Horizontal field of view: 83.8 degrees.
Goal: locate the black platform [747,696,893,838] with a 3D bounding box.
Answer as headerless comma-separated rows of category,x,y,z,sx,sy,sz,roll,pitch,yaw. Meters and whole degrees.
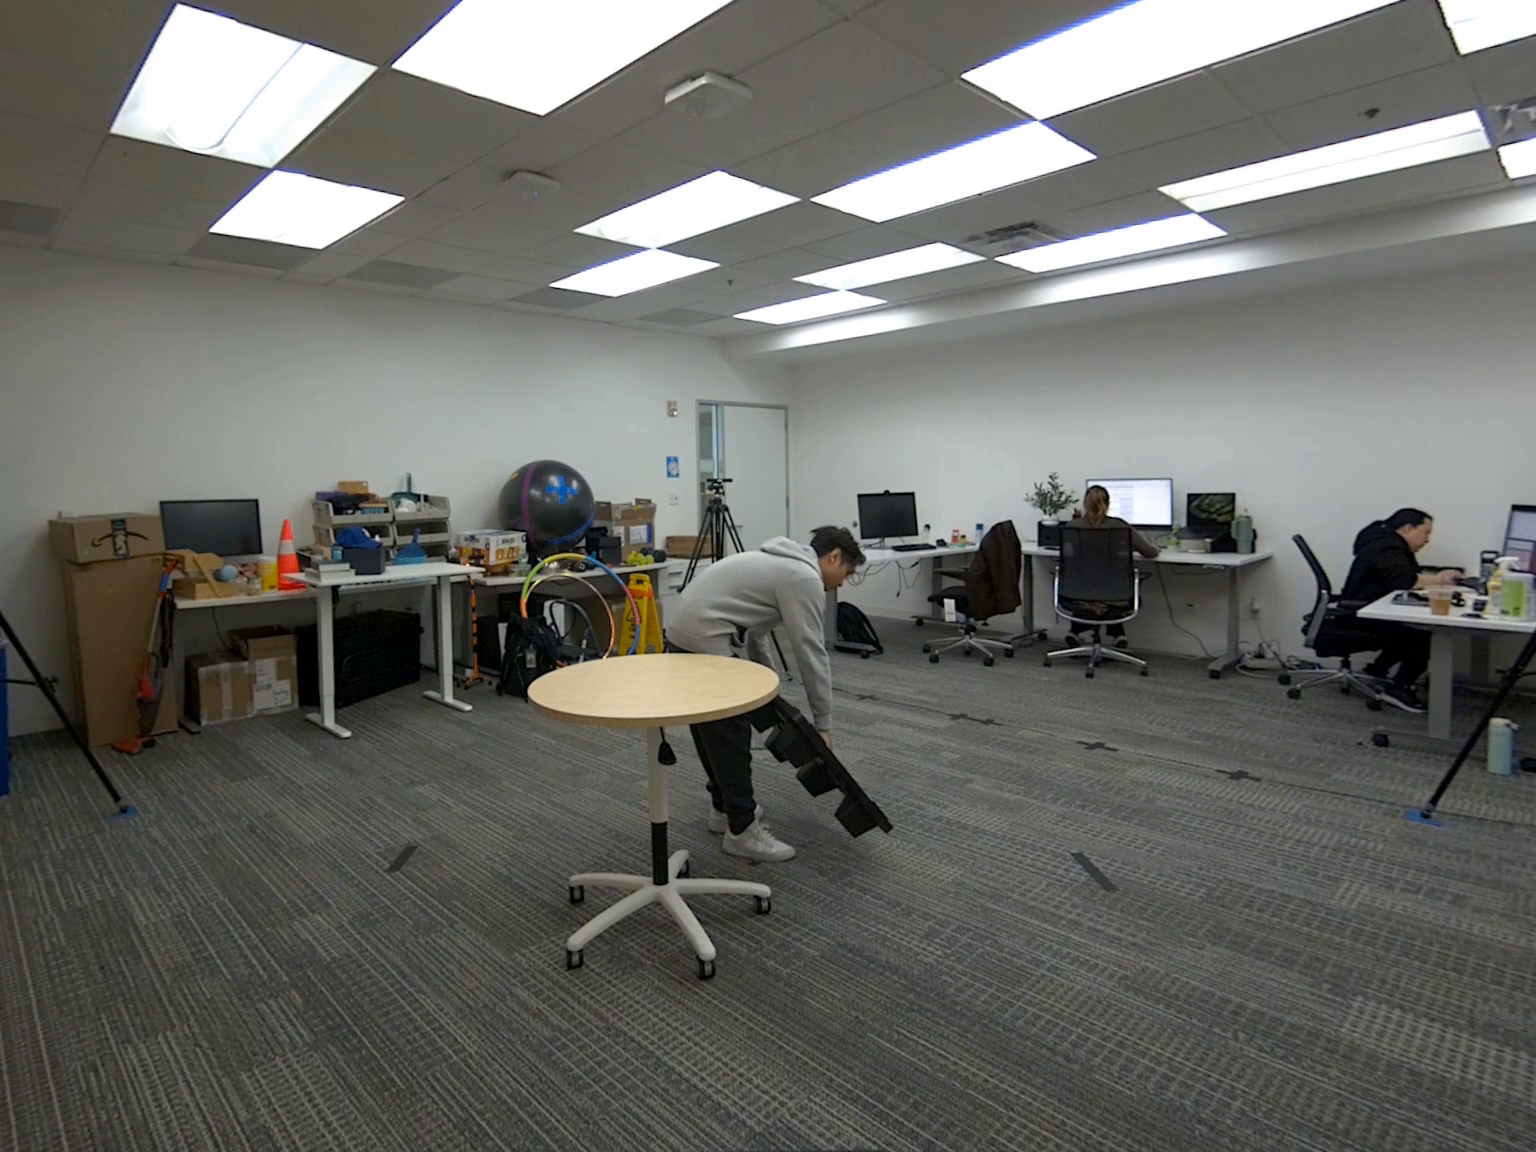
black platform,0.096,0.649,3.303,0.143,0.591,0.826,-42,20,-9
